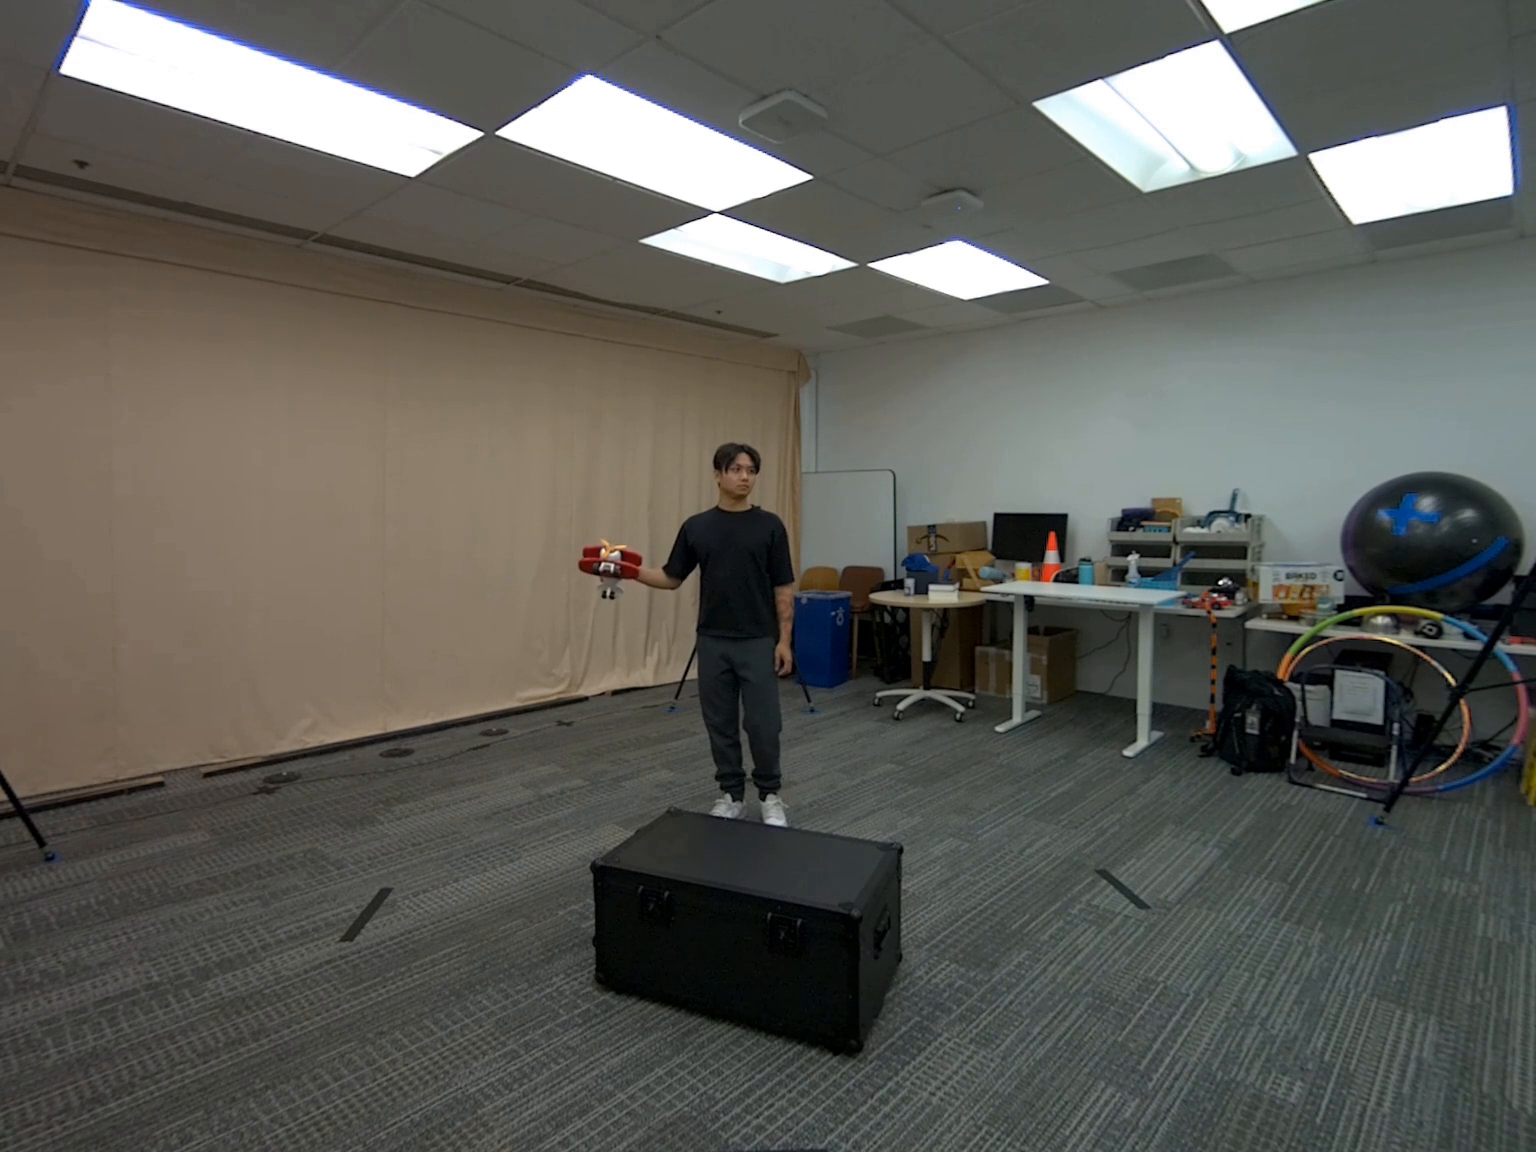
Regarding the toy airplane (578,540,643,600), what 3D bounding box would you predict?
[{"bbox_3d":[-0.688,-0.029,3.557,0.245,0.158,0.262,26,-40,-22],"label":"toy airplane"}]
